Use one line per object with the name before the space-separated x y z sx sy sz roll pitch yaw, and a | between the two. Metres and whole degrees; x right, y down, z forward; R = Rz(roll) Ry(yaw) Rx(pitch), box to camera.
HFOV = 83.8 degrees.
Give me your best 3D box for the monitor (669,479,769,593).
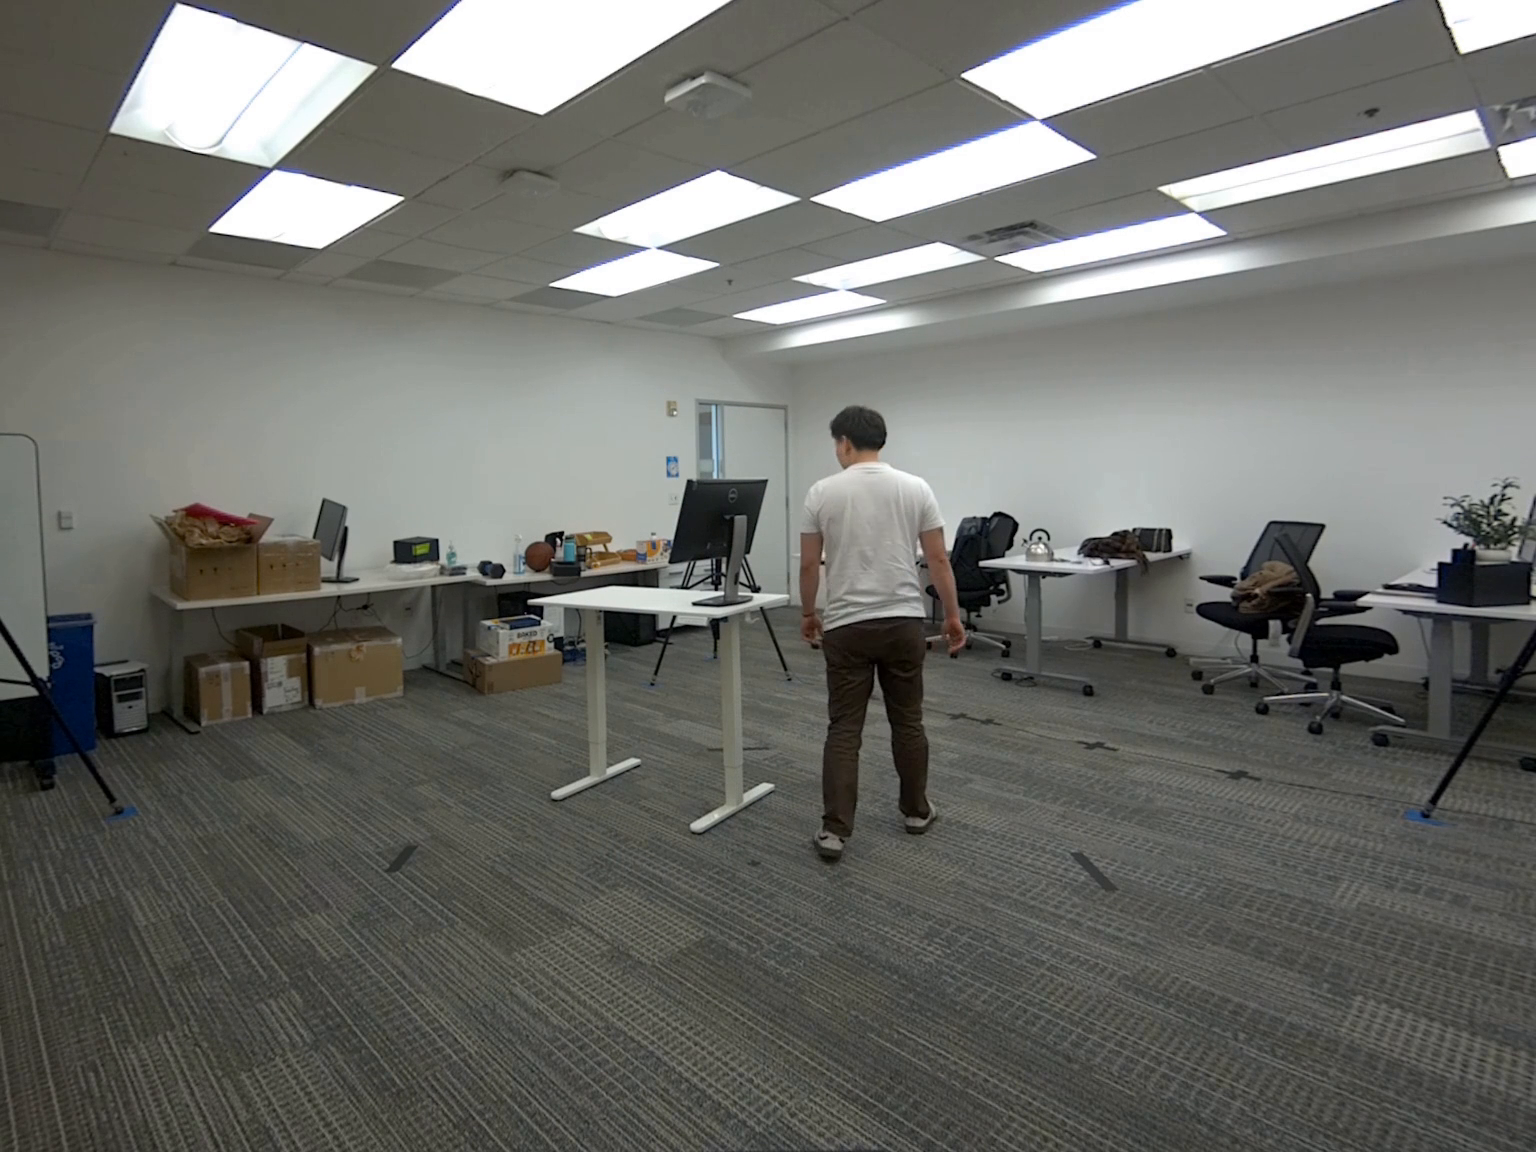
monitor | -0.175 -0.145 3.556 0.192 0.520 0.527 5 7 32
